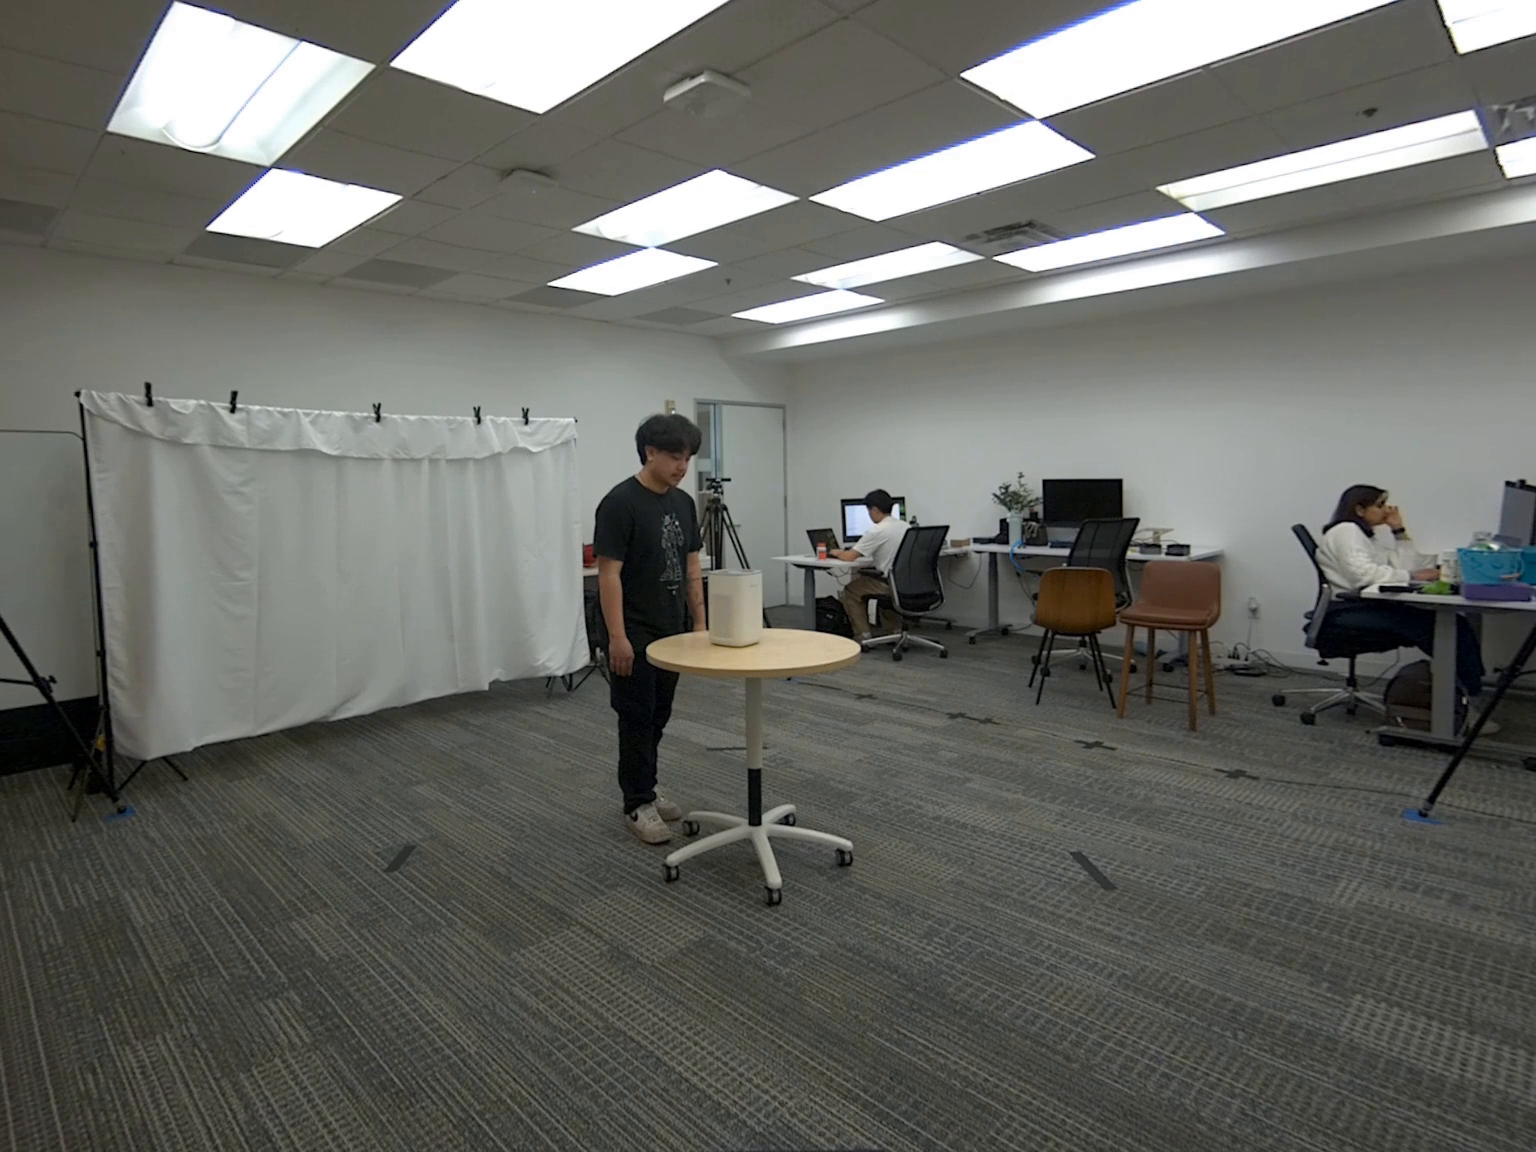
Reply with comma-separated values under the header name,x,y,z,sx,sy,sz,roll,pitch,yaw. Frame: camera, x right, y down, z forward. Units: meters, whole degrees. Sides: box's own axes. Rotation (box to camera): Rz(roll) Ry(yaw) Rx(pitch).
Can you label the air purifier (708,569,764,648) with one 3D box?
name,x,y,z,sx,sy,sz,roll,pitch,yaw
air purifier,-0.118,0.112,3.125,0.176,0.264,0.167,3,5,33
